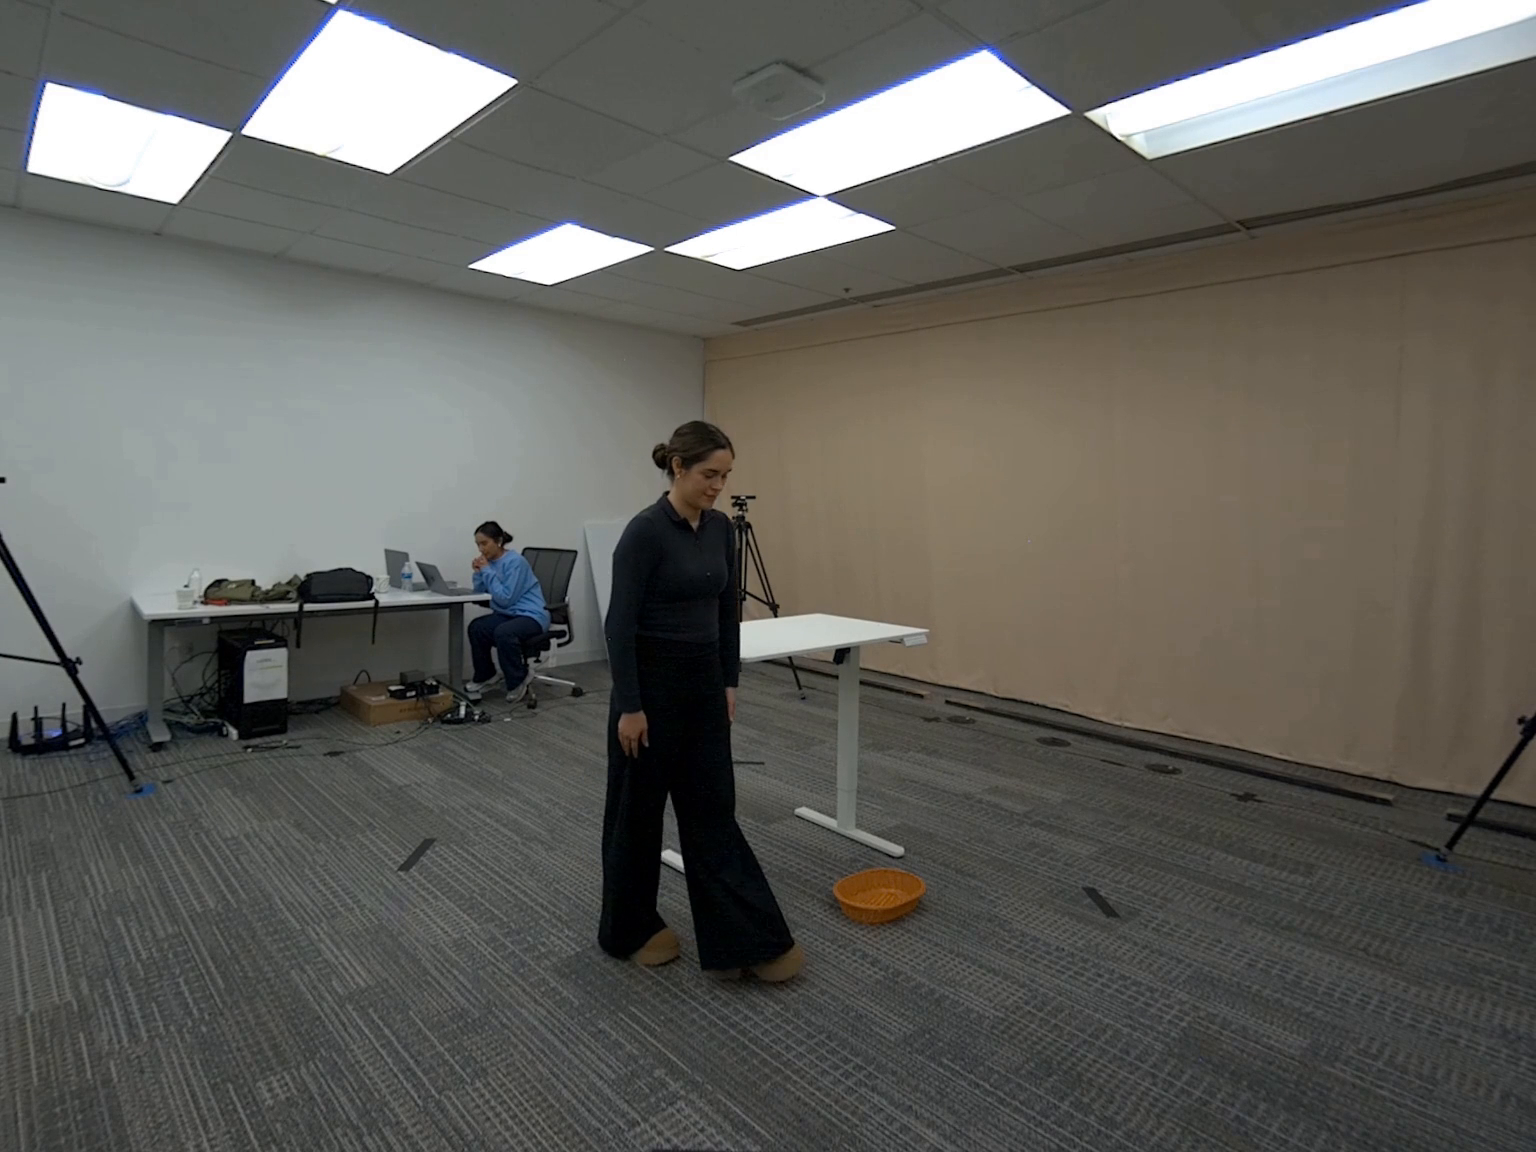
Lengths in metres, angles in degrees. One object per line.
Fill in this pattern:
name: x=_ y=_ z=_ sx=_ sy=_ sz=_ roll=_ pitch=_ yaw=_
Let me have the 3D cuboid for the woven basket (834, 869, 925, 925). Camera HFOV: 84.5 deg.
woven basket: x=0.374 y=1.089 z=2.879 sx=0.342 sy=0.073 sz=0.259 roll=-2 pitch=6 yaw=-38
